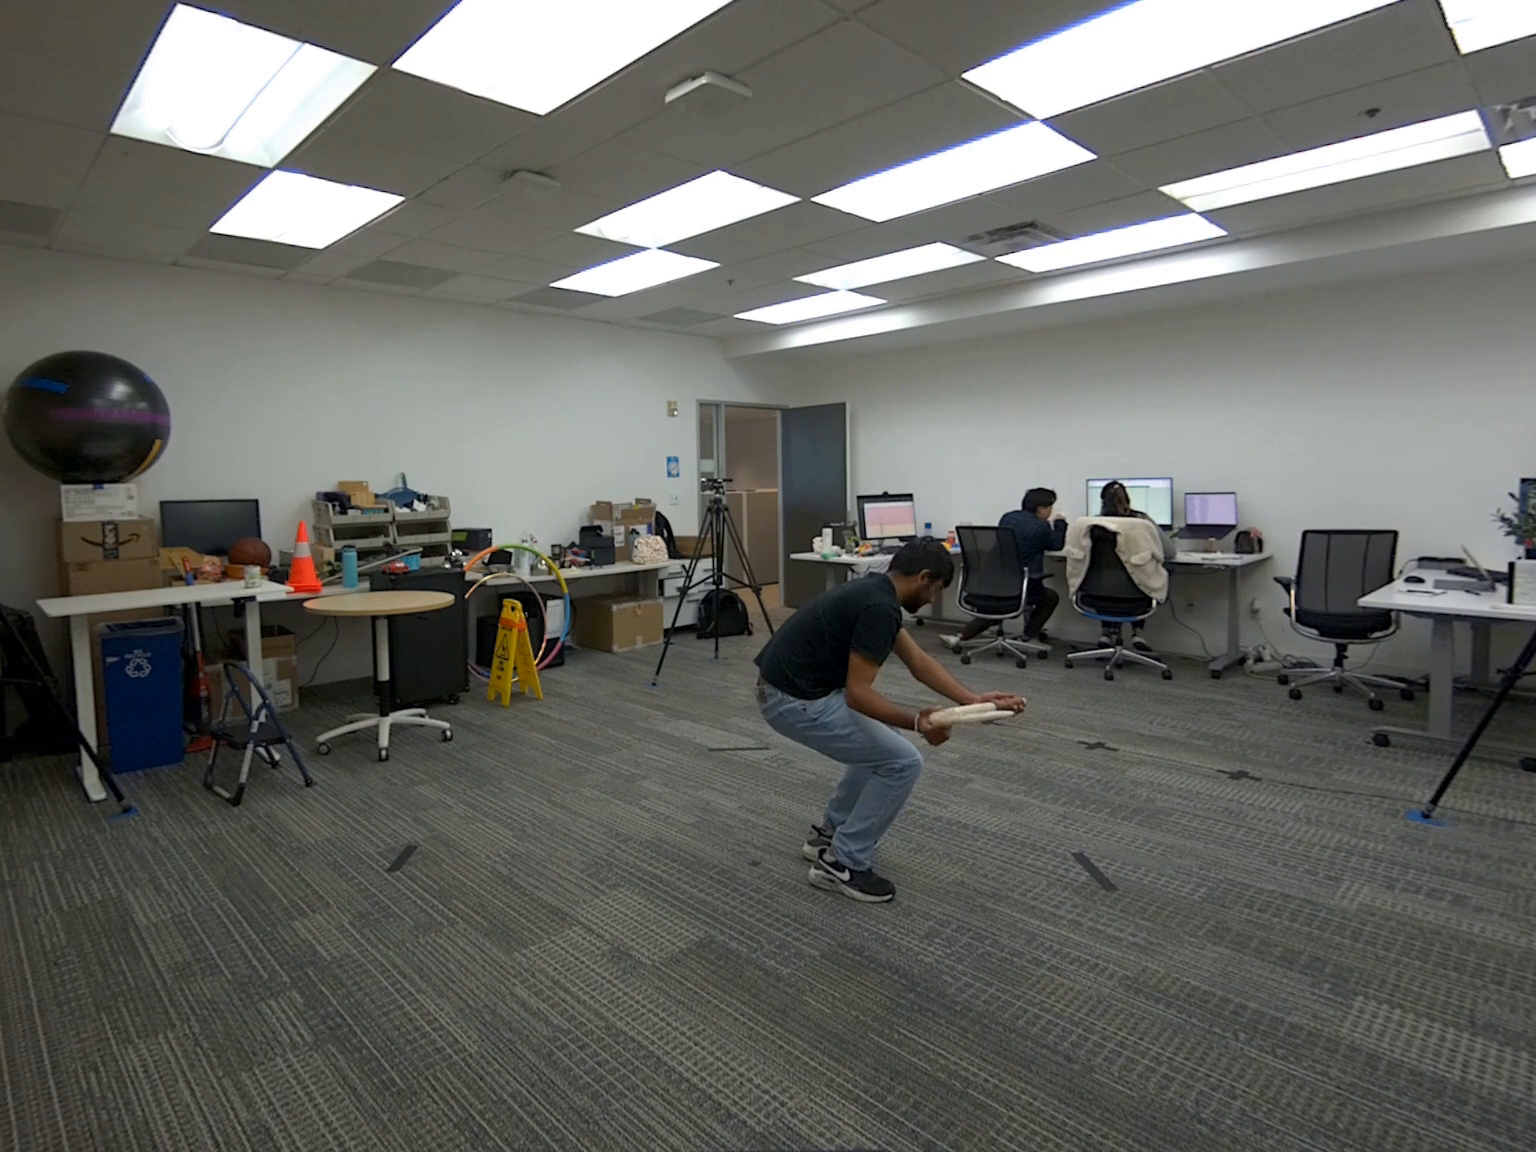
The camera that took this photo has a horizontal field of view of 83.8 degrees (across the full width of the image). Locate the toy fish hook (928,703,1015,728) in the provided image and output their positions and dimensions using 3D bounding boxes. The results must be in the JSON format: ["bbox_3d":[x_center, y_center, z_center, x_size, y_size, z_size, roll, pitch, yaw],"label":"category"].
[{"bbox_3d":[0.692,0.415,2.592,0.492,0.048,0.230,-1,-3,-40],"label":"toy fish hook"}]
